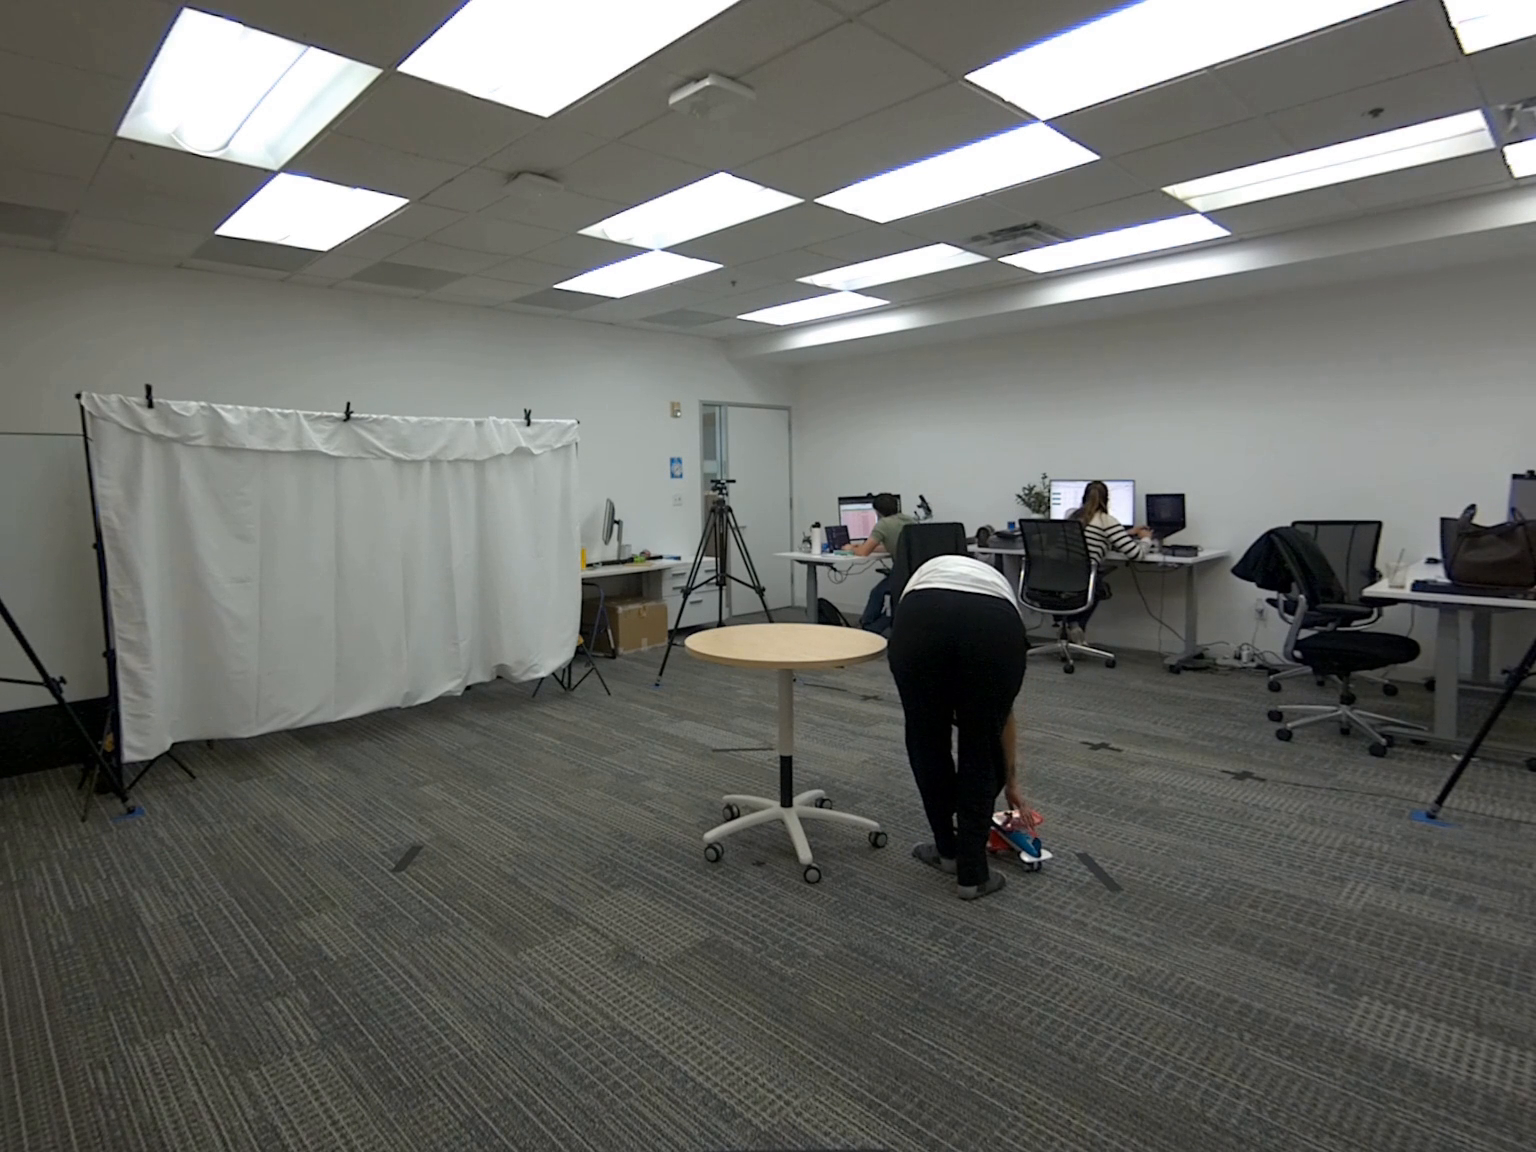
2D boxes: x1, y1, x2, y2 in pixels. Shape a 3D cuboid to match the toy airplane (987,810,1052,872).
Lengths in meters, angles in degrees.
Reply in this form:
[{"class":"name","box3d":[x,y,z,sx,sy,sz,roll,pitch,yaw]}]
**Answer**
[{"class":"toy airplane","box3d":[0.927,0.963,3.107,0.267,0.156,0.244,5,6,41]}]
